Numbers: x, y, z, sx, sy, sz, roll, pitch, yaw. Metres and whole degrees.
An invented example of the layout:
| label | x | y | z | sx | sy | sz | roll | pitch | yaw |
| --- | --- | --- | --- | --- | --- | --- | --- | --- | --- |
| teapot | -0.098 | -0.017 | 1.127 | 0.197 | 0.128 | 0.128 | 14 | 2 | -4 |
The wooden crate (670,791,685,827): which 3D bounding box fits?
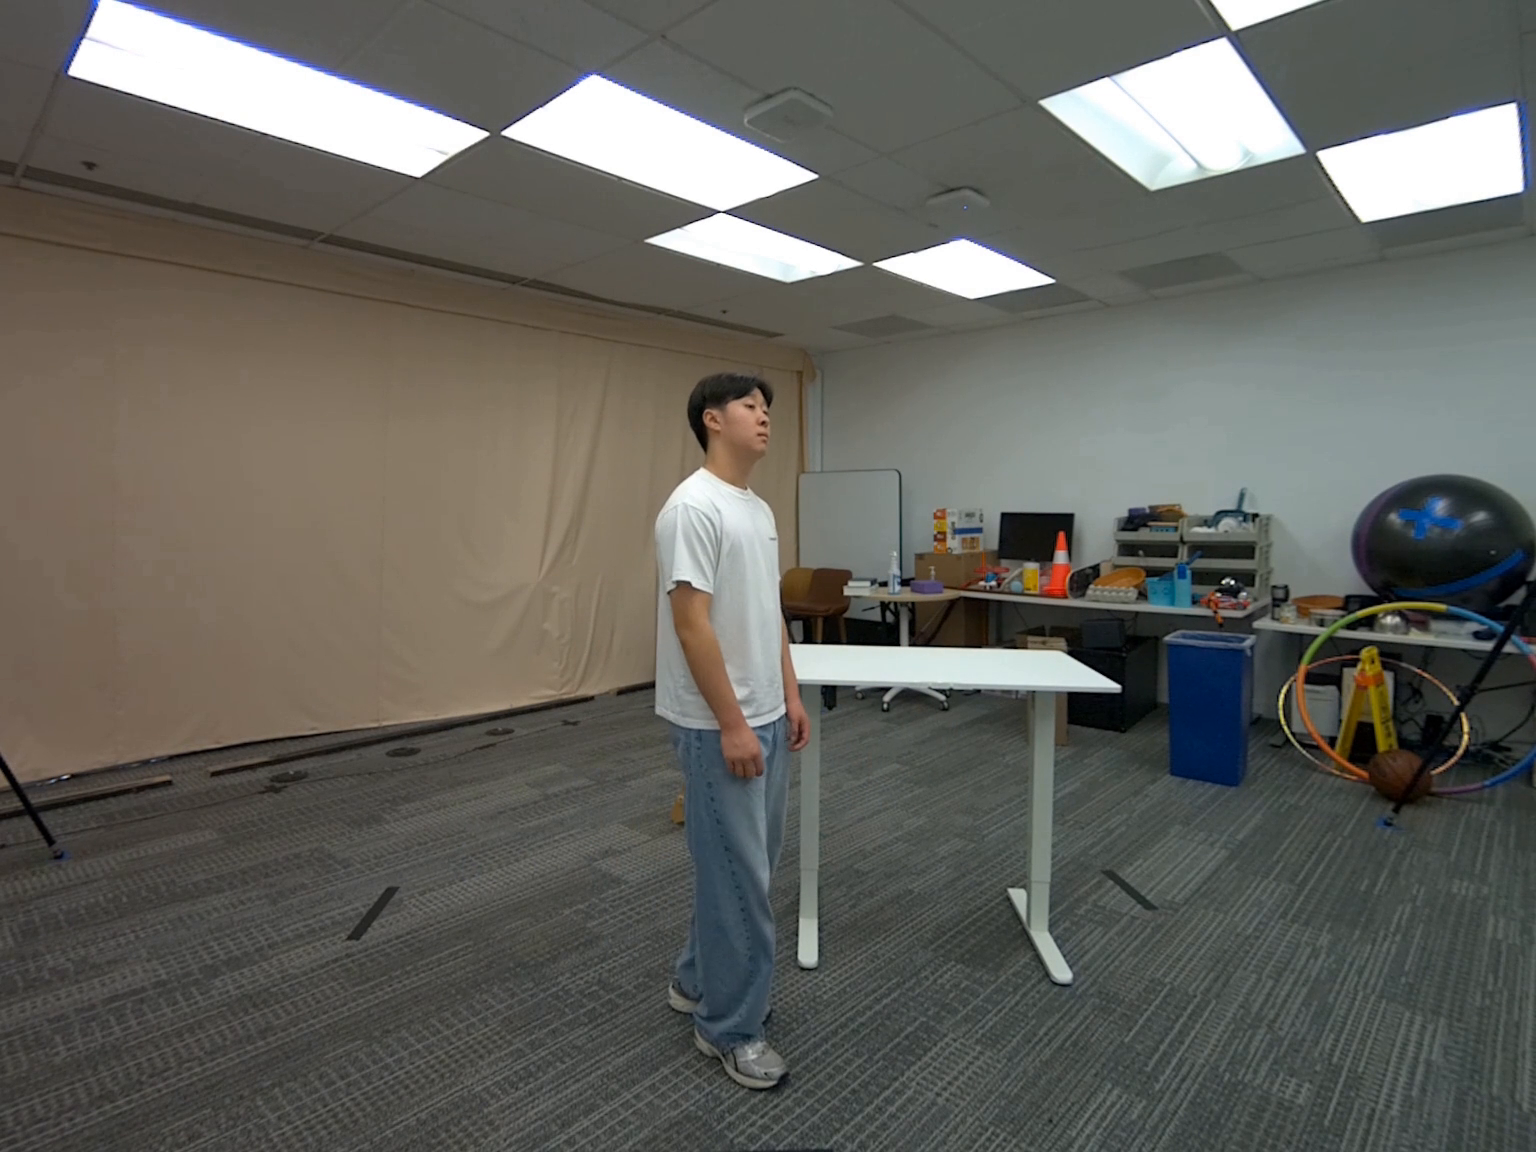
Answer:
| label | x | y | z | sx | sy | sz | roll | pitch | yaw |
| --- | --- | --- | --- | --- | --- | --- | --- | --- | --- |
| wooden crate | -0.199 | 0.995 | 3.717 | 0.282 | 0.301 | 0.315 | 35 | 23 | 30 |
